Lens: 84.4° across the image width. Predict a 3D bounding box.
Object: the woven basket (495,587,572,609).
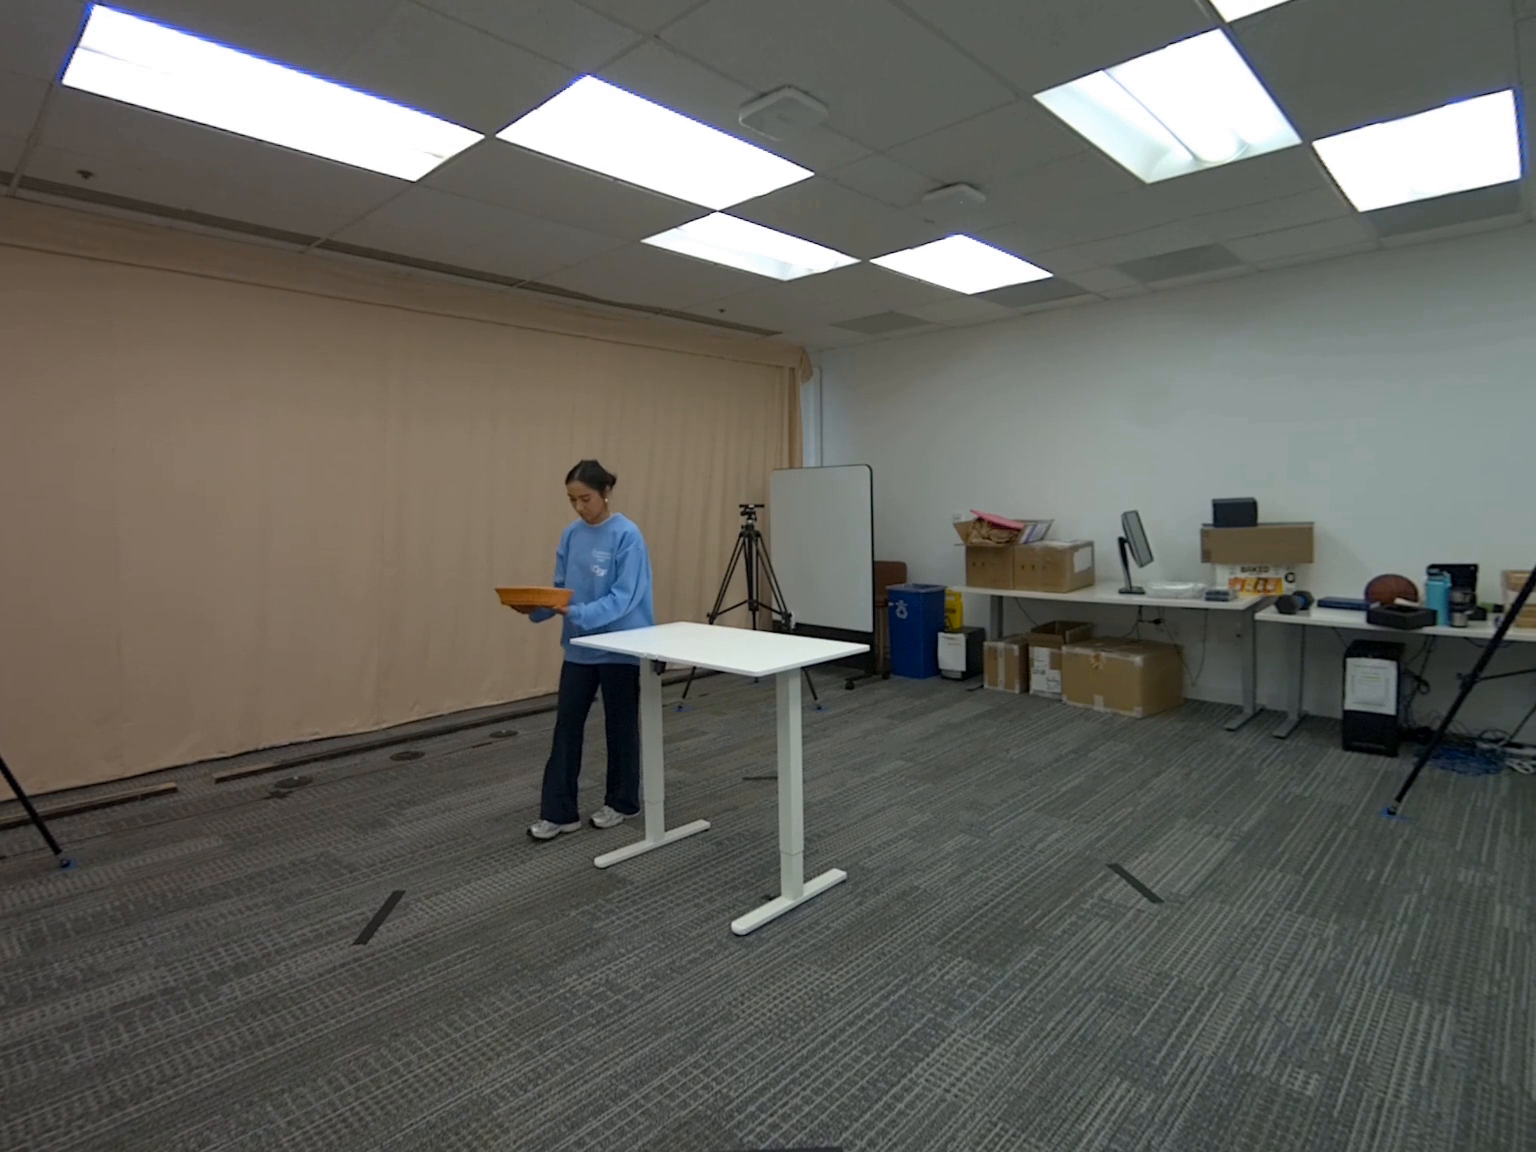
[{"bbox_3d":[-0.962,0.097,3.499,0.359,0.073,0.245,0,-4,25],"label":"woven basket"}]
